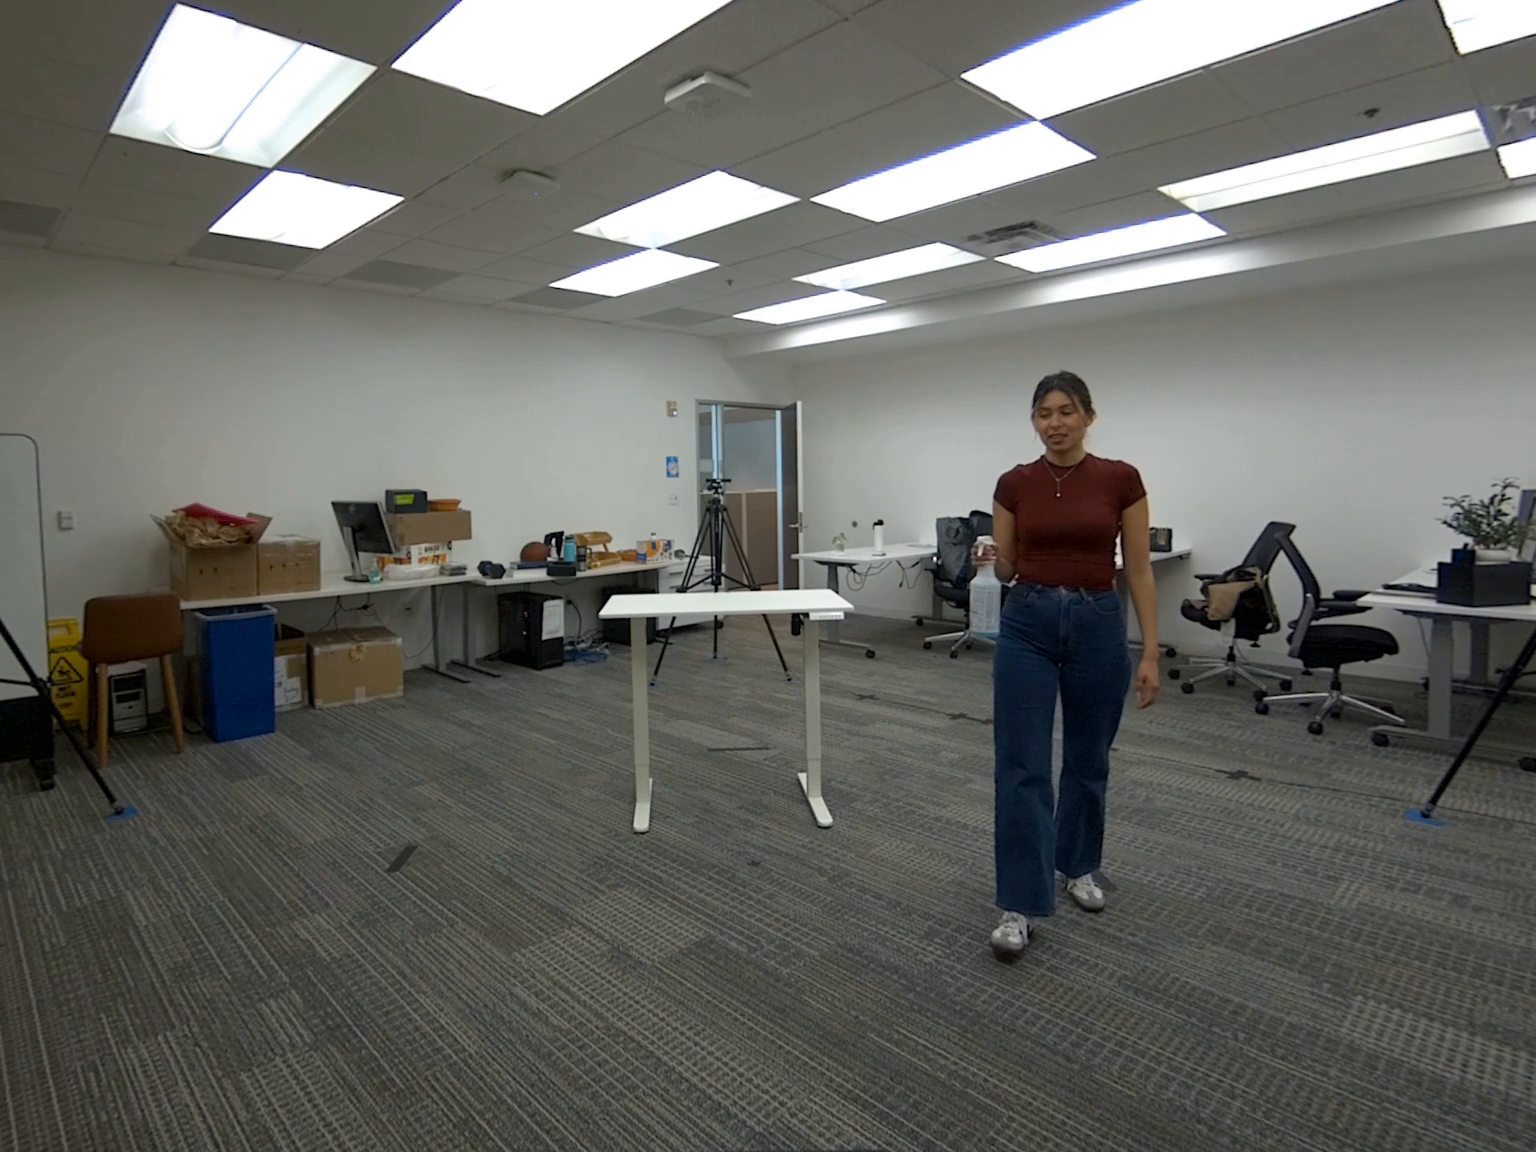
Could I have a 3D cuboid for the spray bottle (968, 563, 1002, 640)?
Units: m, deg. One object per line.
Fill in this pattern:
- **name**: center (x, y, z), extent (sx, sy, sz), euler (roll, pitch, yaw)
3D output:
- **spray bottle**: center (0.654, 0.029, 2.523), extent (0.088, 0.295, 0.089), euler (-6, 10, -27)
